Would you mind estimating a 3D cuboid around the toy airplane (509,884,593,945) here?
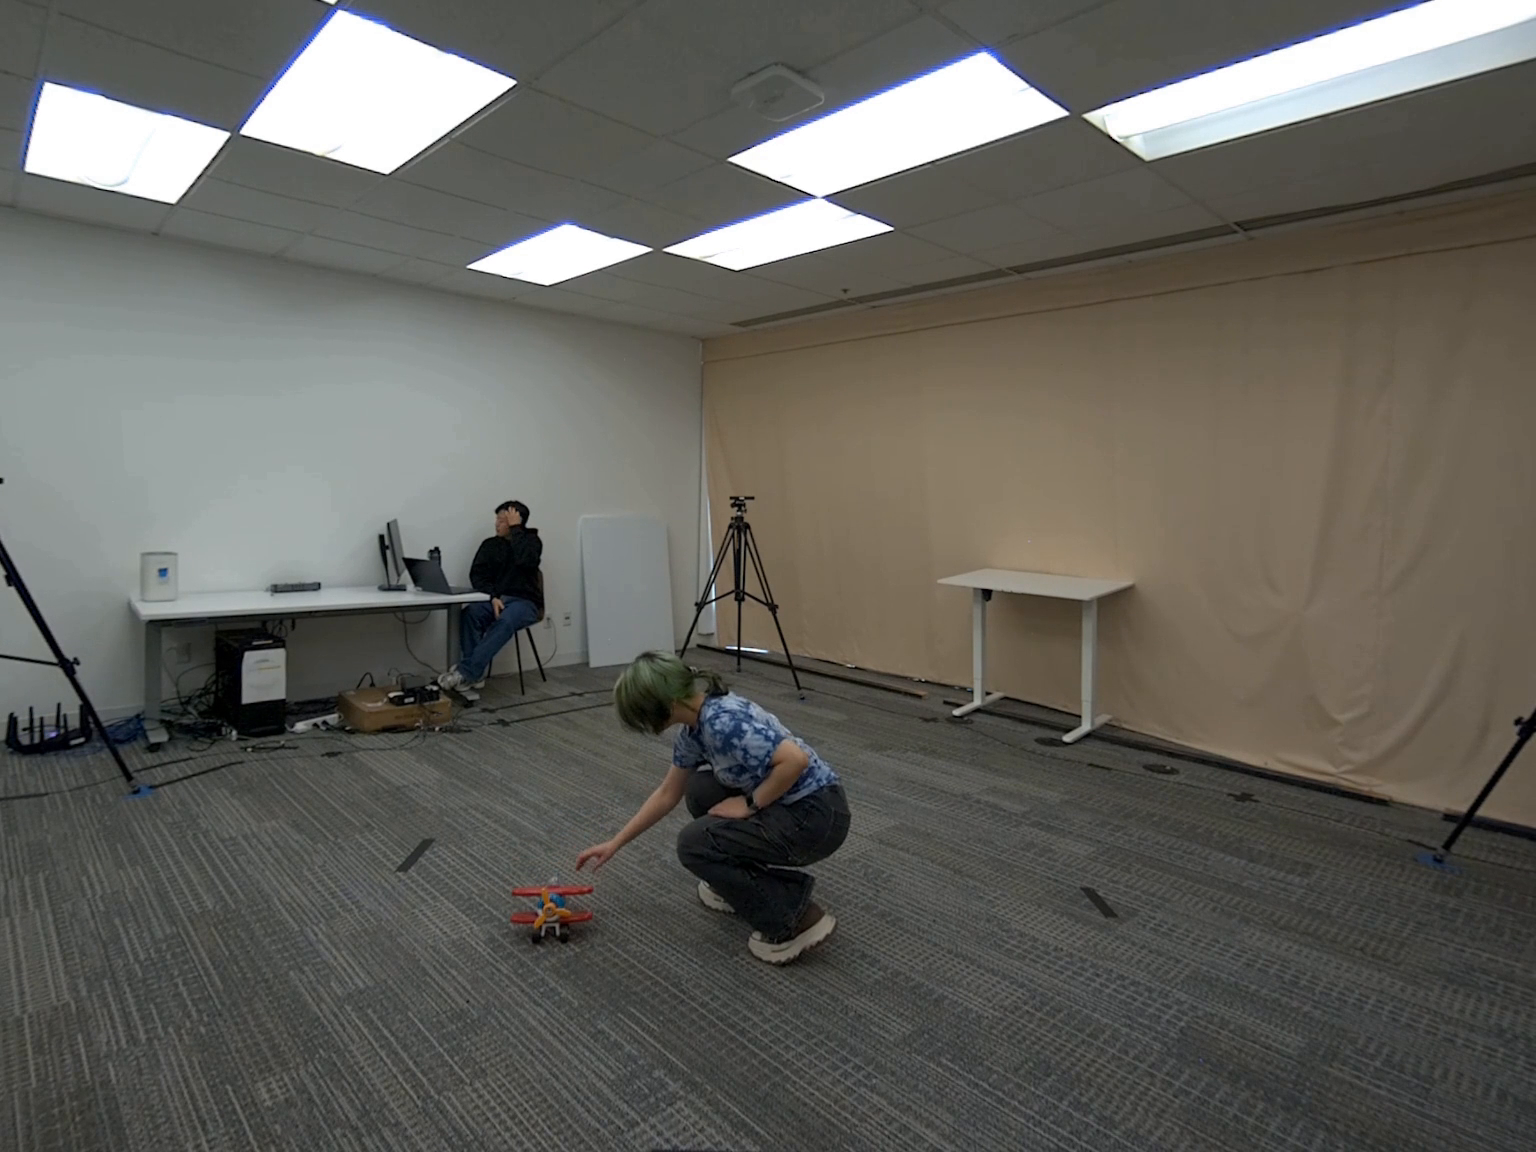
[{"bbox_3d":[-0.707,1.053,2.697,0.246,0.156,0.265,-3,7,-33],"label":"toy airplane"}]
